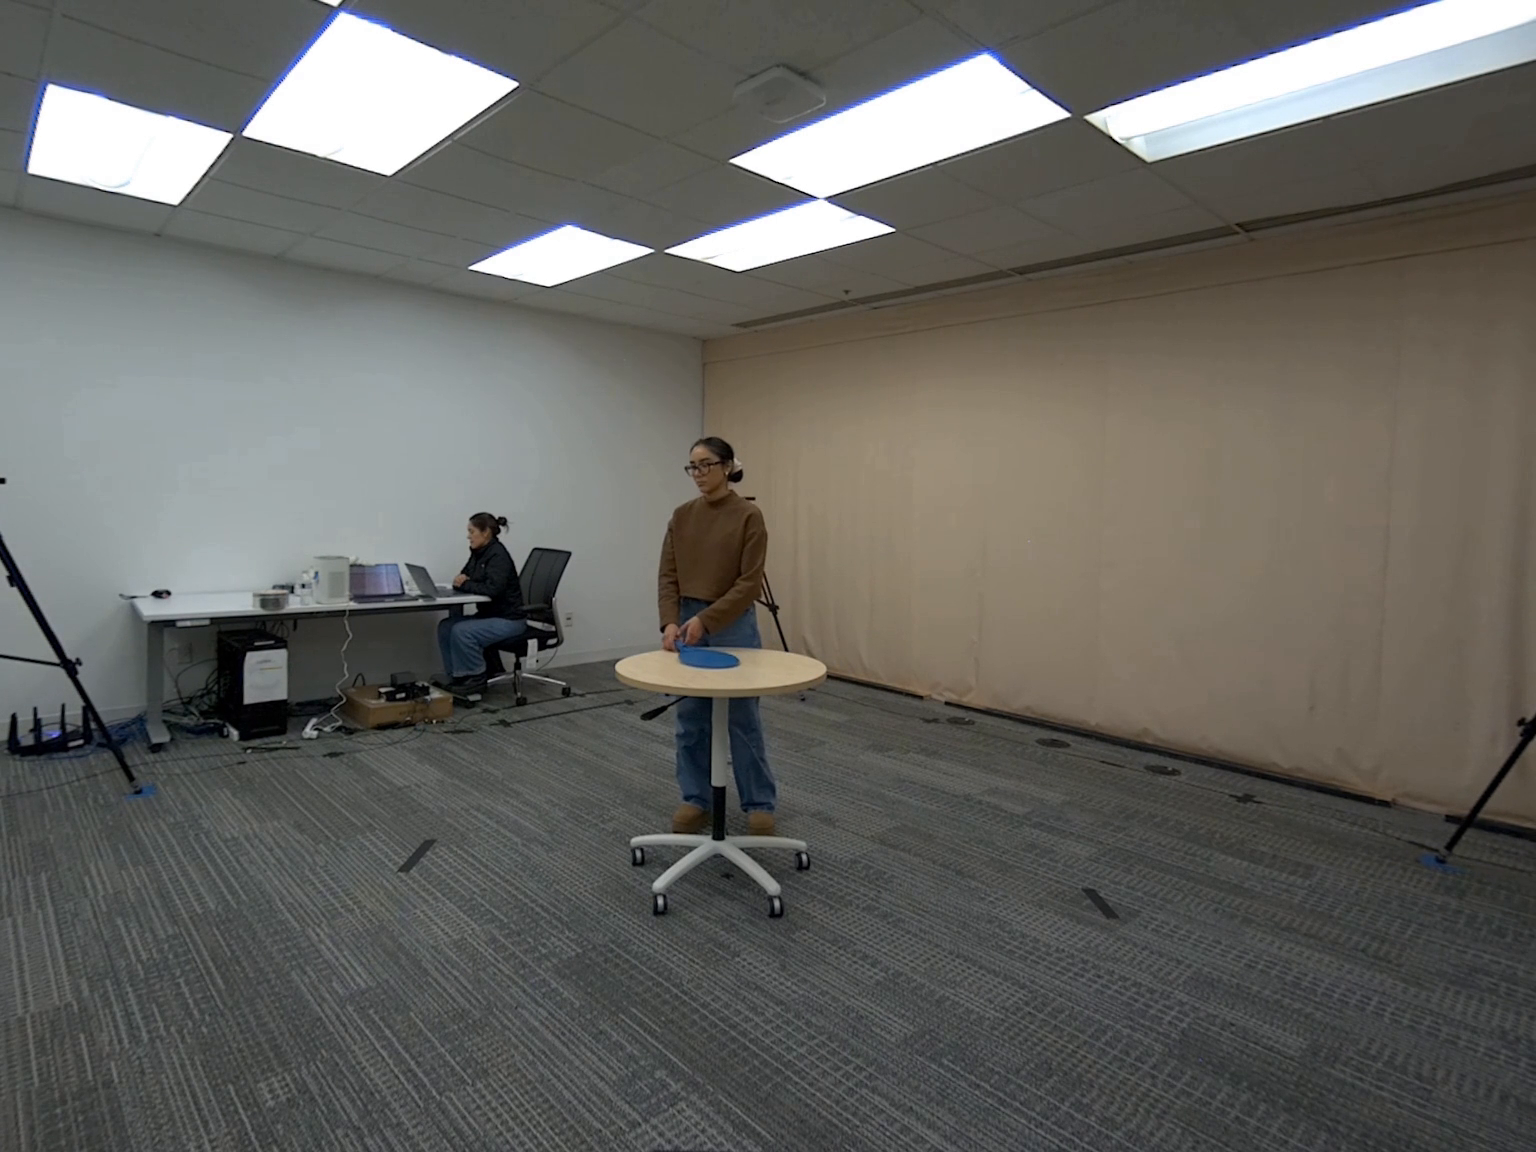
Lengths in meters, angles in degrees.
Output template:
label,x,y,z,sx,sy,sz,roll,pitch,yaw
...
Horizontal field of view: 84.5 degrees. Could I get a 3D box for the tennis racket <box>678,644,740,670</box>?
label,x,y,z,sx,sy,sz,roll,pitch,yaw
tennis racket,-0.285,0.302,3.204,0.209,0.031,0.444,-4,10,-33
